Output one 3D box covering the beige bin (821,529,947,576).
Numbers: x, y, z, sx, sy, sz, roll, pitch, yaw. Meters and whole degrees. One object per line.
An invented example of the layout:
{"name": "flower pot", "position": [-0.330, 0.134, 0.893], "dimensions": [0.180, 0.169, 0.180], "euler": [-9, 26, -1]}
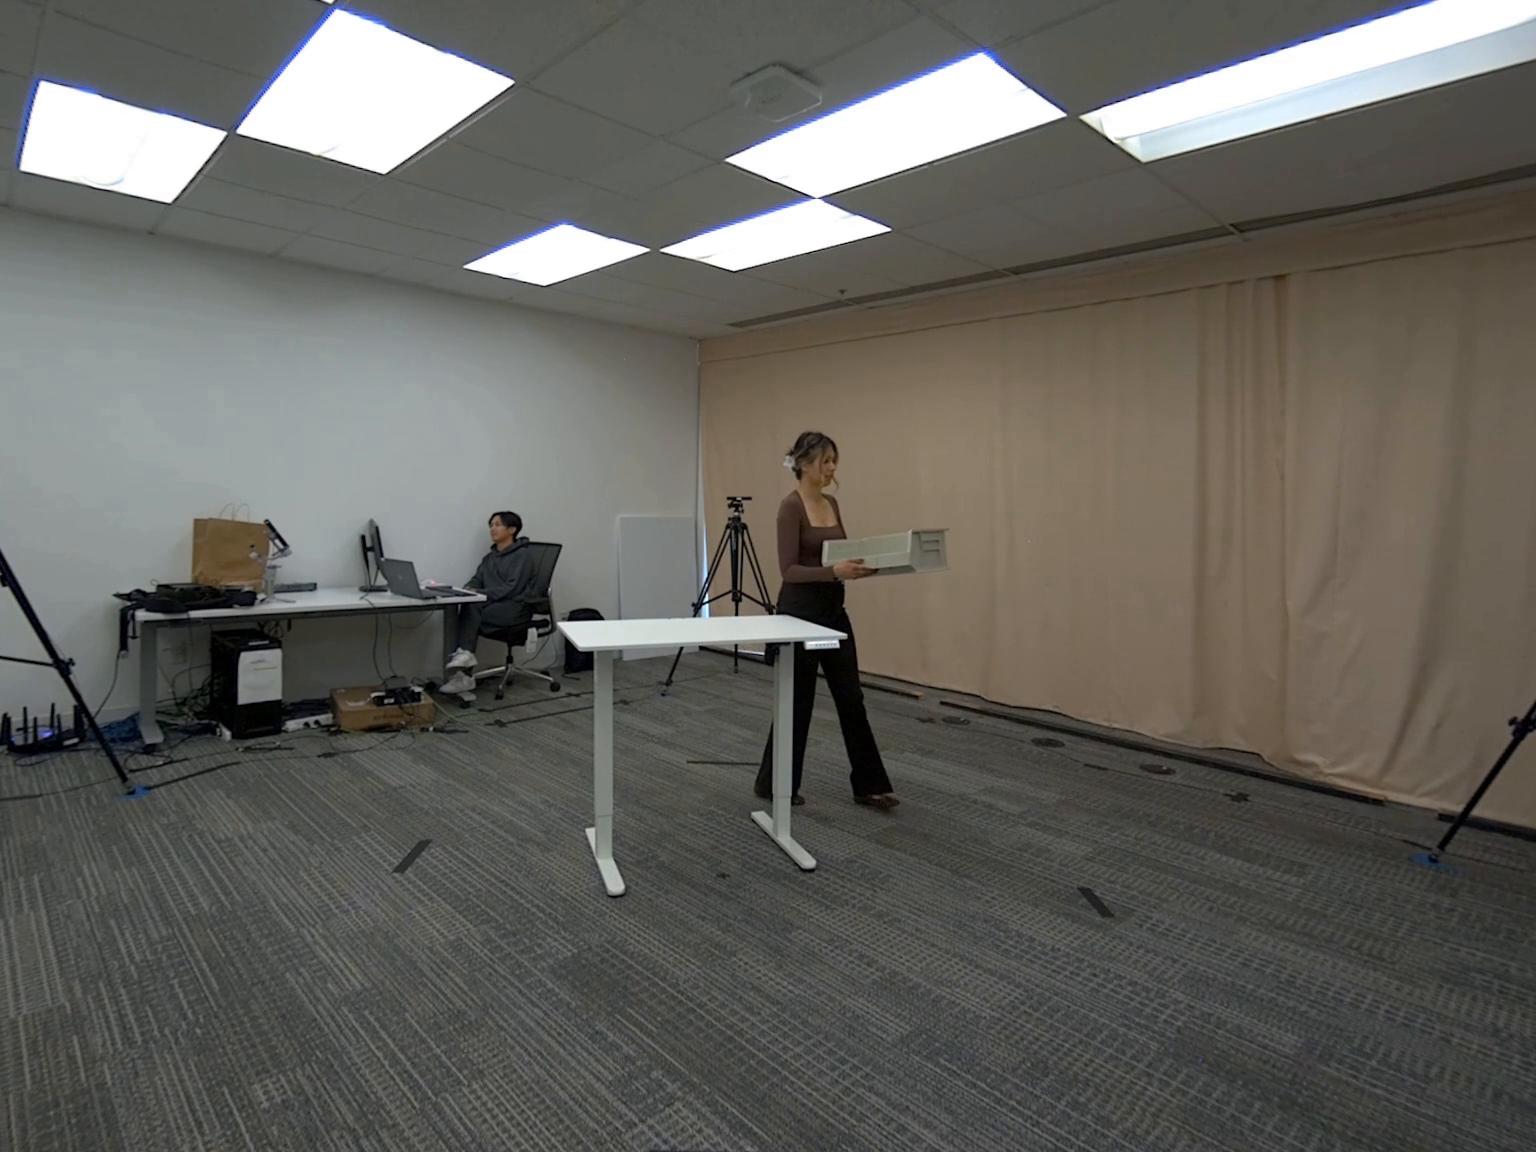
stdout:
{"name": "beige bin", "position": [0.499, -0.091, 3.603], "dimensions": [0.431, 0.189, 0.369], "euler": [-7, -3, 37]}
